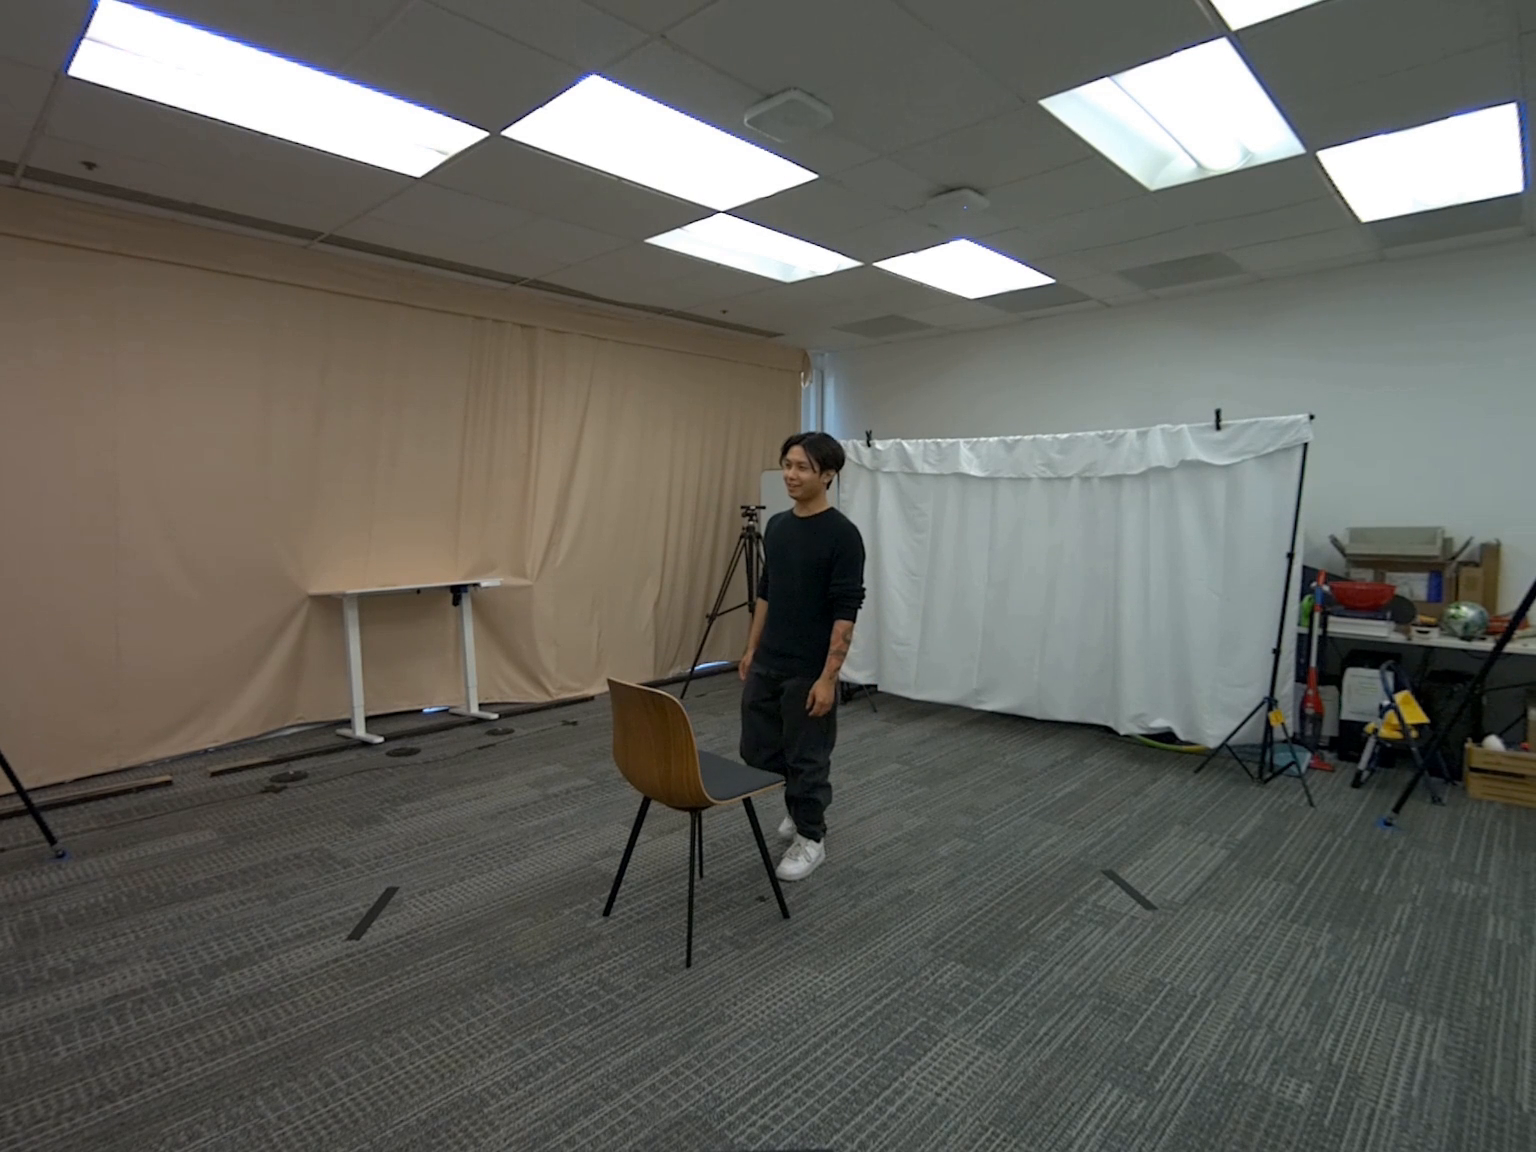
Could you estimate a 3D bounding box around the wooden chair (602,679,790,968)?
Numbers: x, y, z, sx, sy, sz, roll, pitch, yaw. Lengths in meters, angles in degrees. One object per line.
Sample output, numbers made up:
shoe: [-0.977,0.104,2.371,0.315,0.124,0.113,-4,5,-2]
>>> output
wooden chair: [-0.239,0.731,2.827,0.508,0.874,0.494,-9,8,-44]
